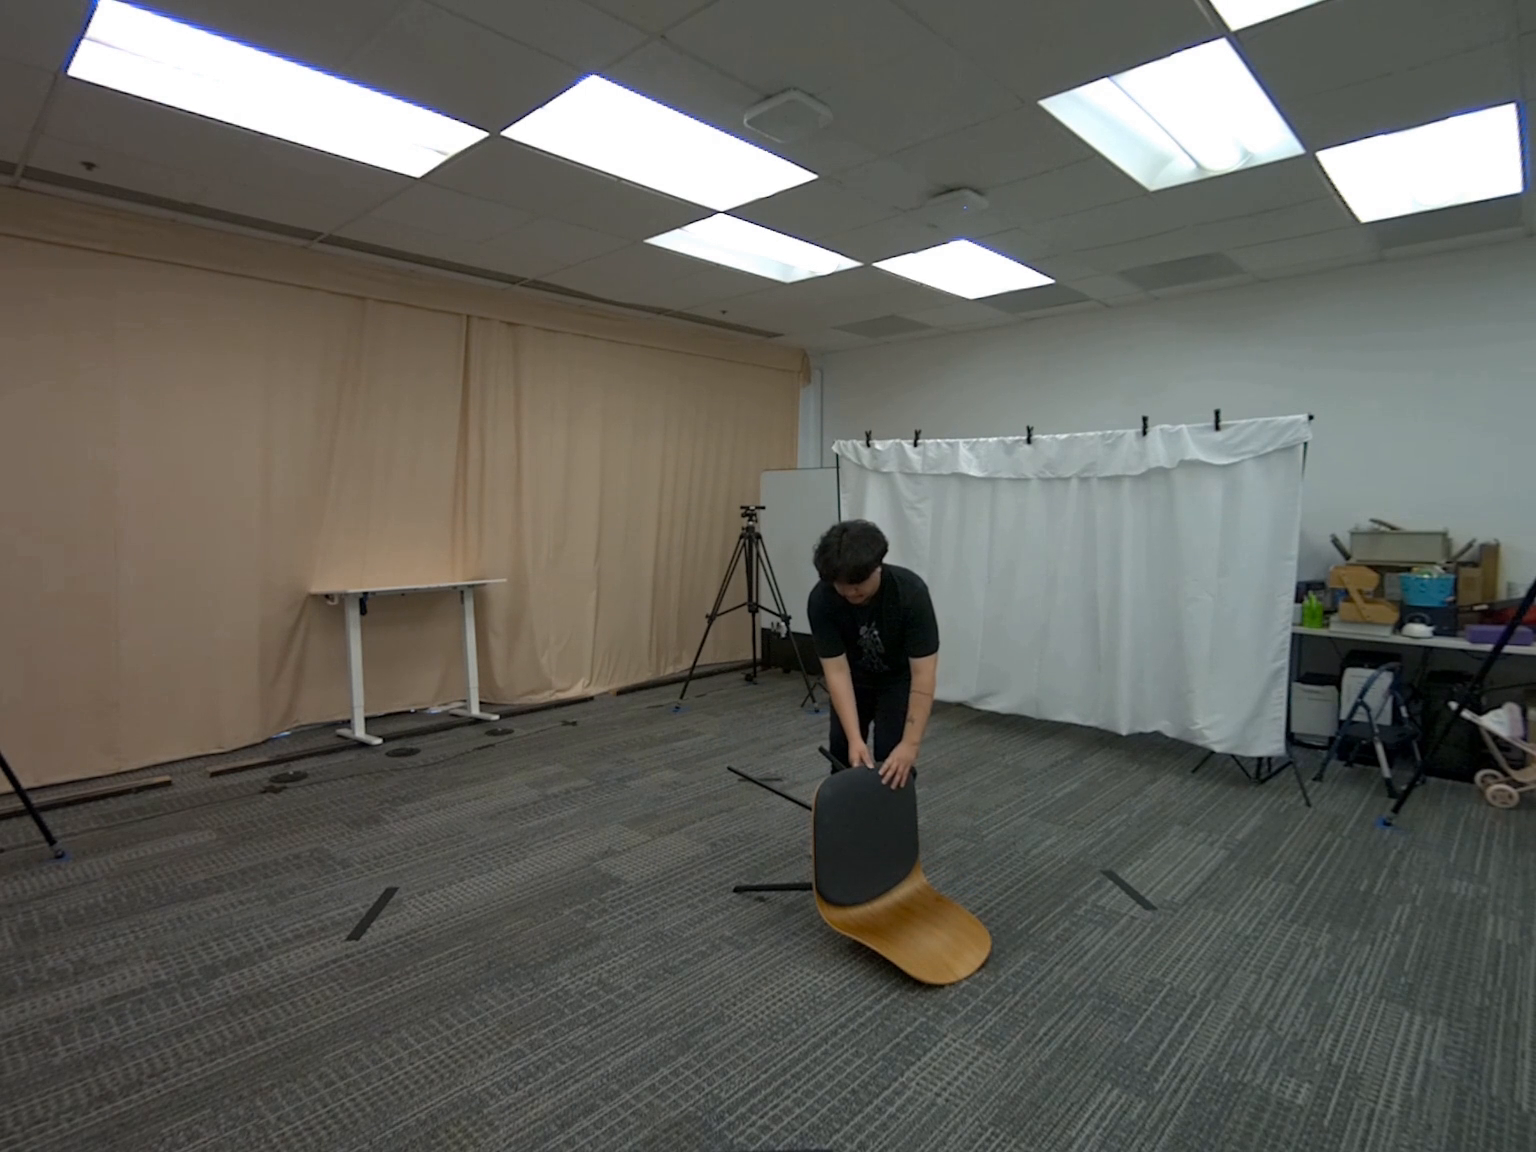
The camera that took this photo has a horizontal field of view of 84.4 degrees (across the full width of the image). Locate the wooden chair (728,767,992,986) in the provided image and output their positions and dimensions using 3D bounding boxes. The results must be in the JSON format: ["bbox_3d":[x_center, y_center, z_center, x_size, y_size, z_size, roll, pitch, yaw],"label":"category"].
[{"bbox_3d":[0.302,0.902,2.811,0.464,0.522,0.905,-2,5,-35],"label":"wooden chair"}]
